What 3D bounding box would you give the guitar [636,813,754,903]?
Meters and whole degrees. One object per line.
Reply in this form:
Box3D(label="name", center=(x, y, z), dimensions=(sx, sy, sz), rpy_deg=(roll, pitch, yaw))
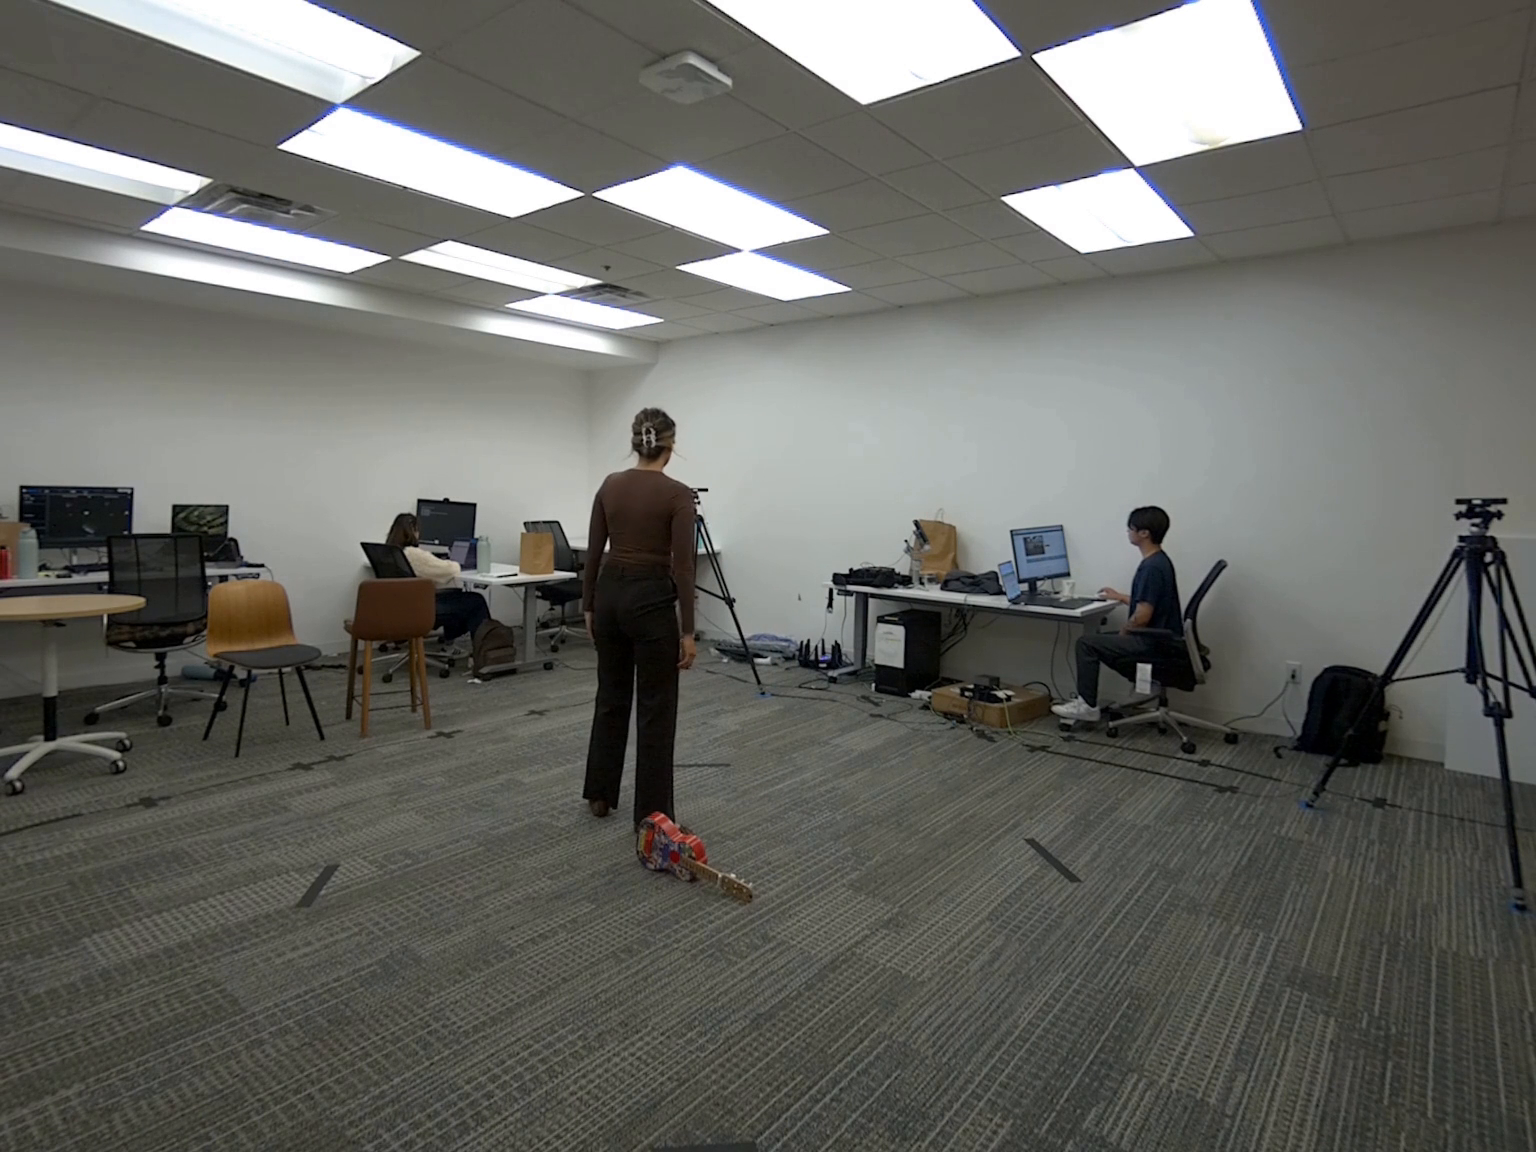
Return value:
Box3D(label="guitar", center=(-0.273, 1.036, 3.013), dimensions=(0.515, 0.191, 0.069), rpy_deg=(24, 16, 29))
